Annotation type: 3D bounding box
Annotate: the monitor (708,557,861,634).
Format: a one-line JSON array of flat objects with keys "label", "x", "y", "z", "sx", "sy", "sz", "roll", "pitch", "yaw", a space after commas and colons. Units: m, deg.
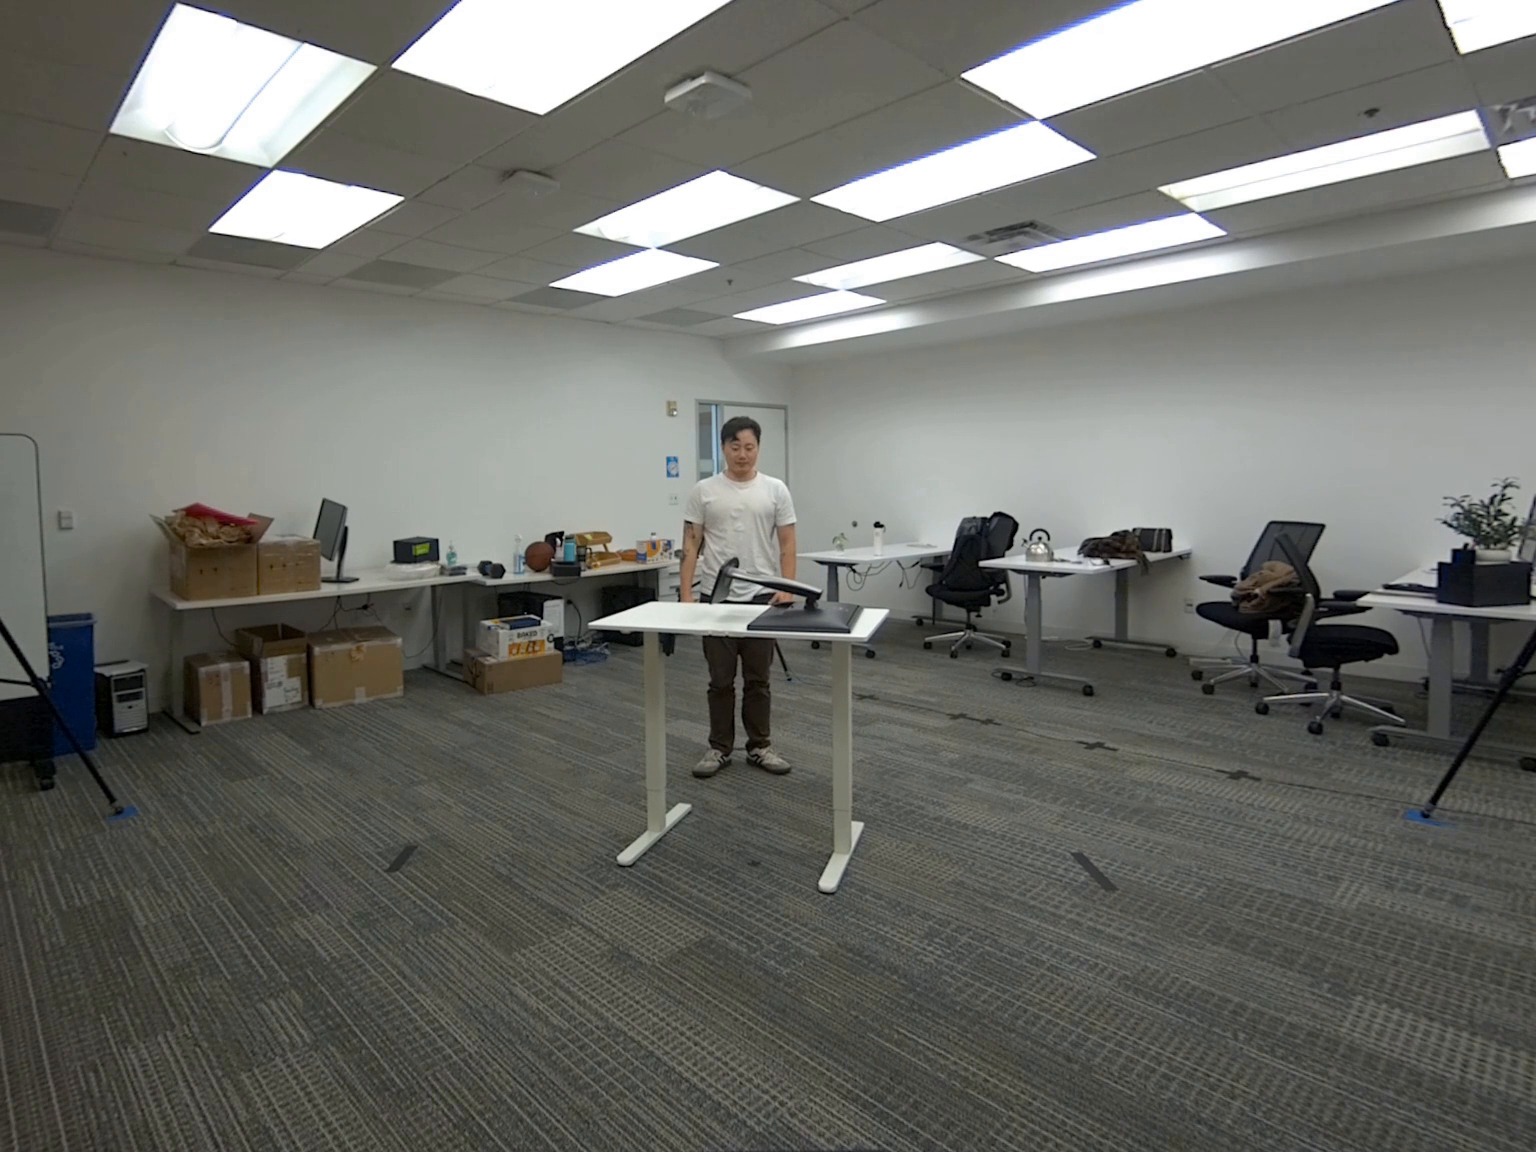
[{"label": "monitor", "x": 0.072, "y": 0.097, "z": 3.142, "sx": 0.530, "sy": 0.186, "sz": 0.535, "roll": 20, "pitch": 11, "yaw": 11}]
